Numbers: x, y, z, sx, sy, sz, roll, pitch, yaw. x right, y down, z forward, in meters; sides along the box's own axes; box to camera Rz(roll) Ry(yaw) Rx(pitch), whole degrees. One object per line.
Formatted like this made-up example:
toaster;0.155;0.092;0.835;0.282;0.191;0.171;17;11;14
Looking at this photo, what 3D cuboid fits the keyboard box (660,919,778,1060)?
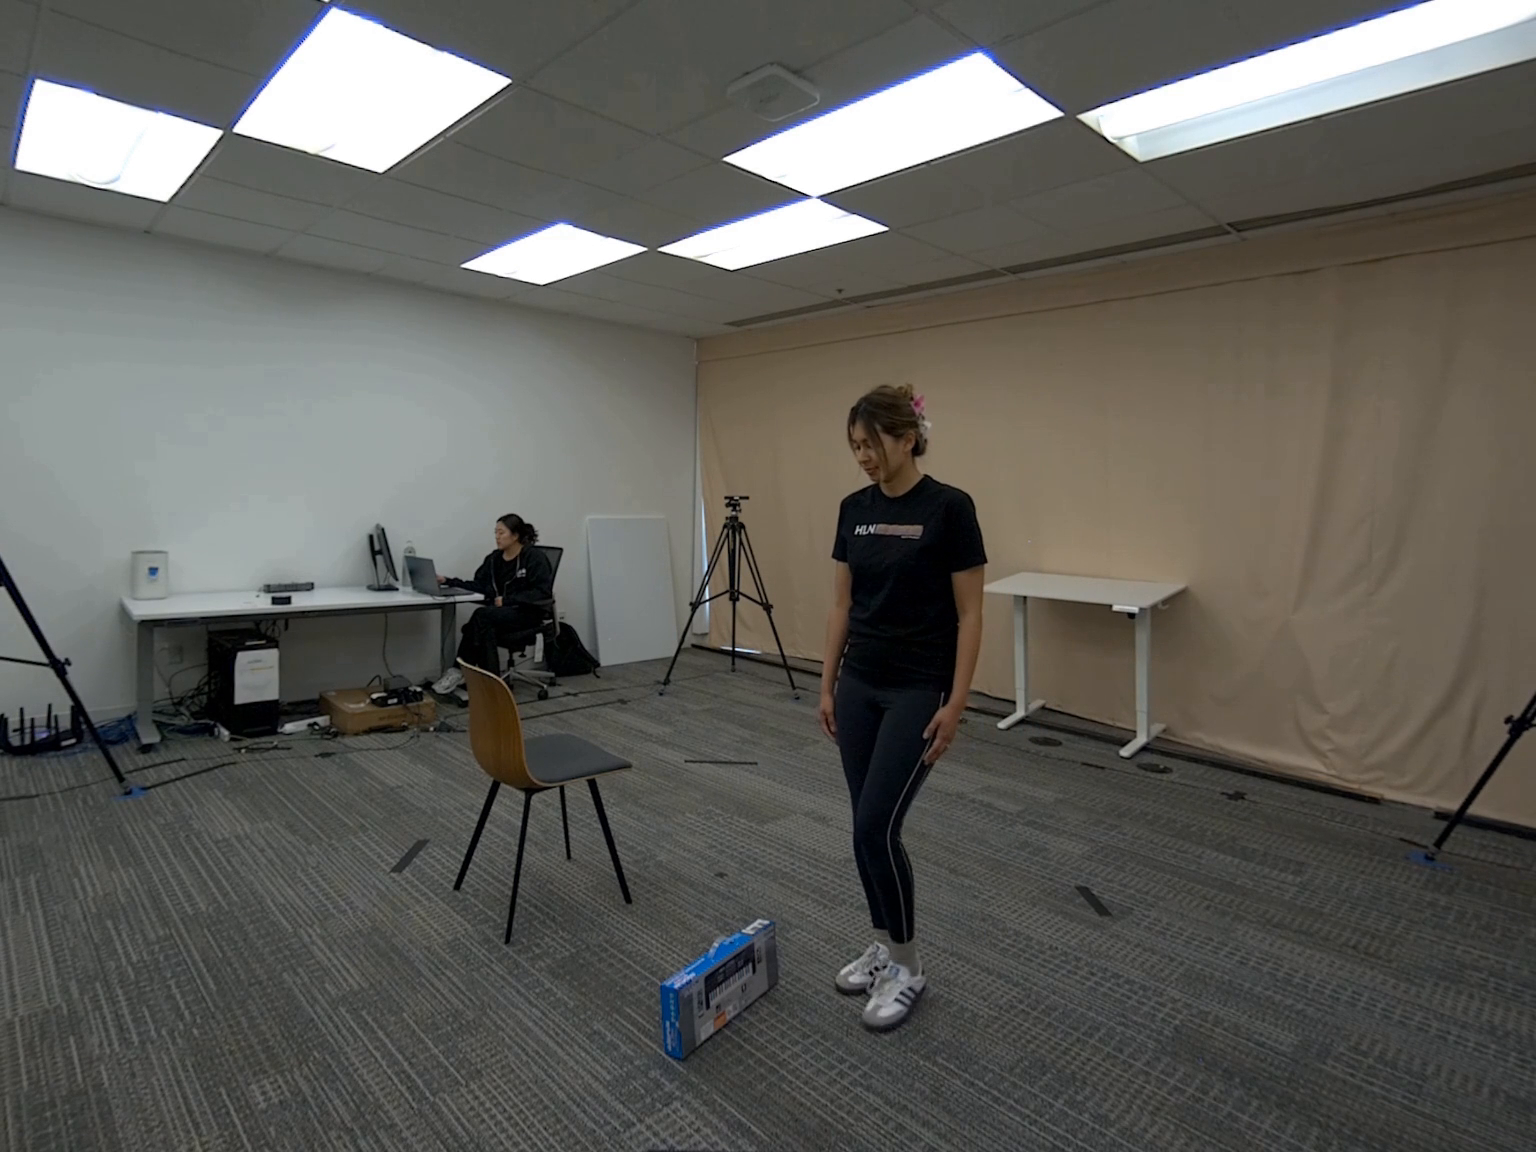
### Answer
keyboard box;-0.125;1.099;2.257;0.060;0.176;0.428;-4;1;35
